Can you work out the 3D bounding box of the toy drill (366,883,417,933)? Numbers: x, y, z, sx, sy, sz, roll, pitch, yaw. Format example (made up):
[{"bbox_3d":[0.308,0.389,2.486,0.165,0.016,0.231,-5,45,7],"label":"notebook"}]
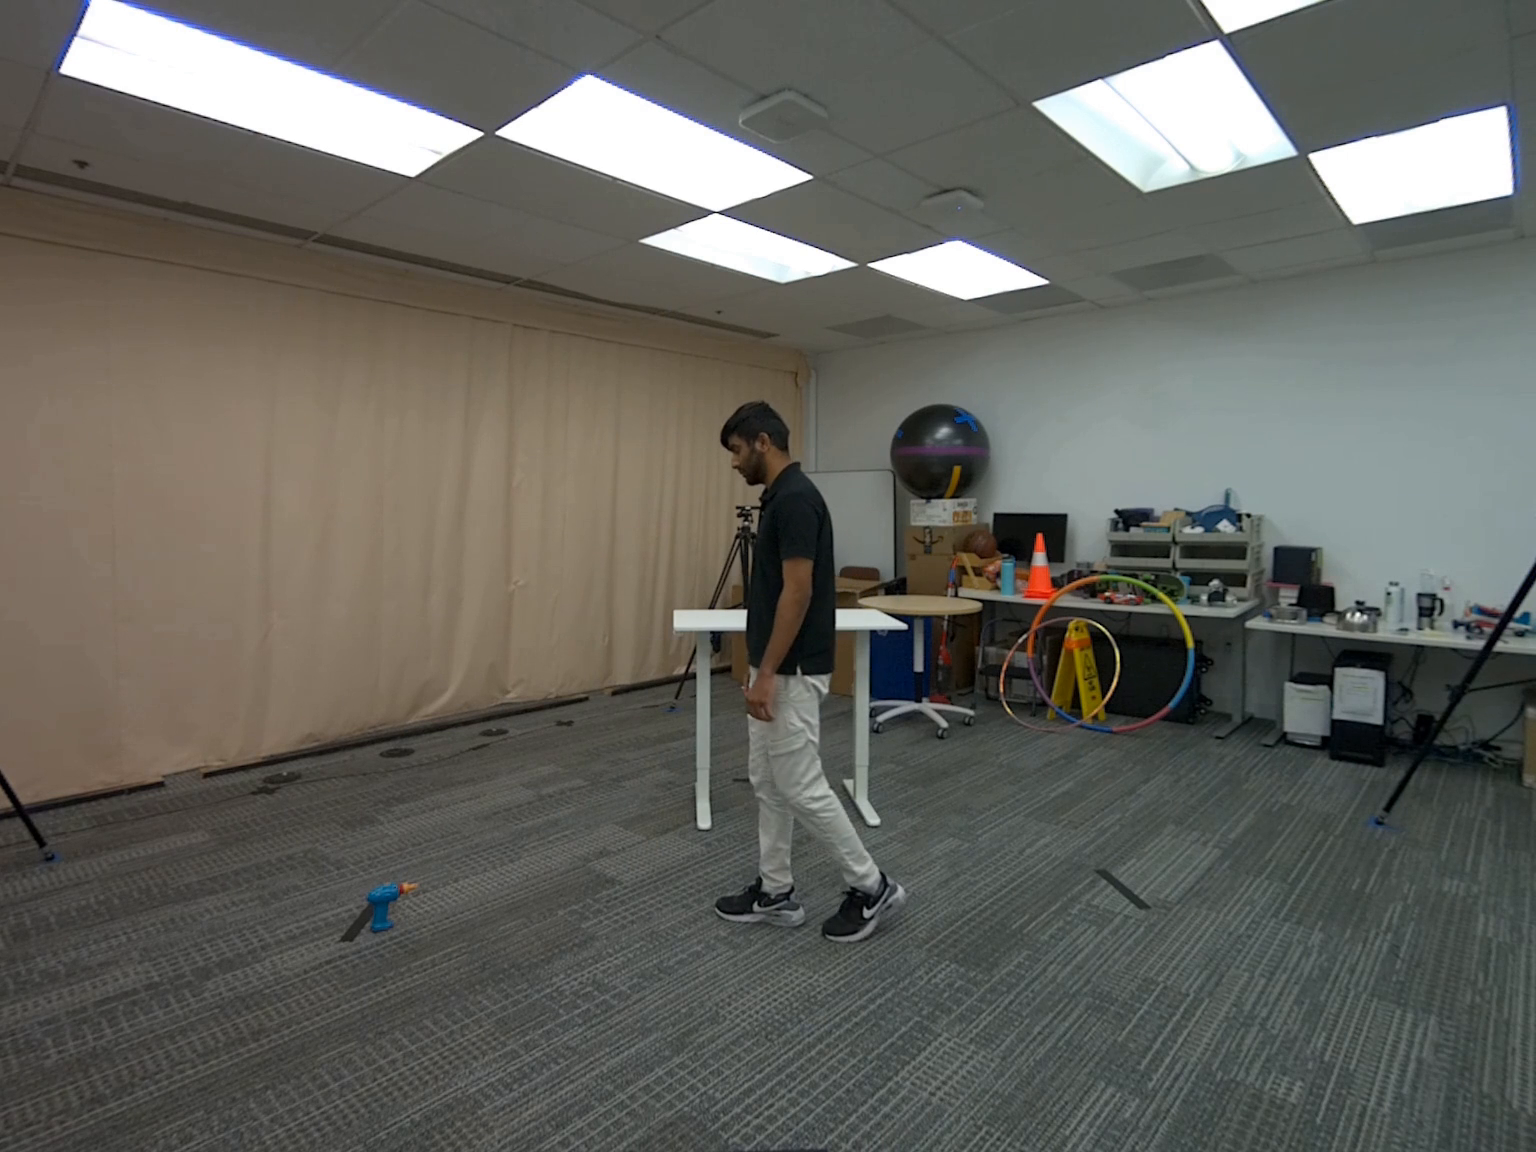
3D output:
[{"bbox_3d":[-1.261,1.102,2.811,0.165,0.145,0.063,-6,8,-41],"label":"toy drill"}]
